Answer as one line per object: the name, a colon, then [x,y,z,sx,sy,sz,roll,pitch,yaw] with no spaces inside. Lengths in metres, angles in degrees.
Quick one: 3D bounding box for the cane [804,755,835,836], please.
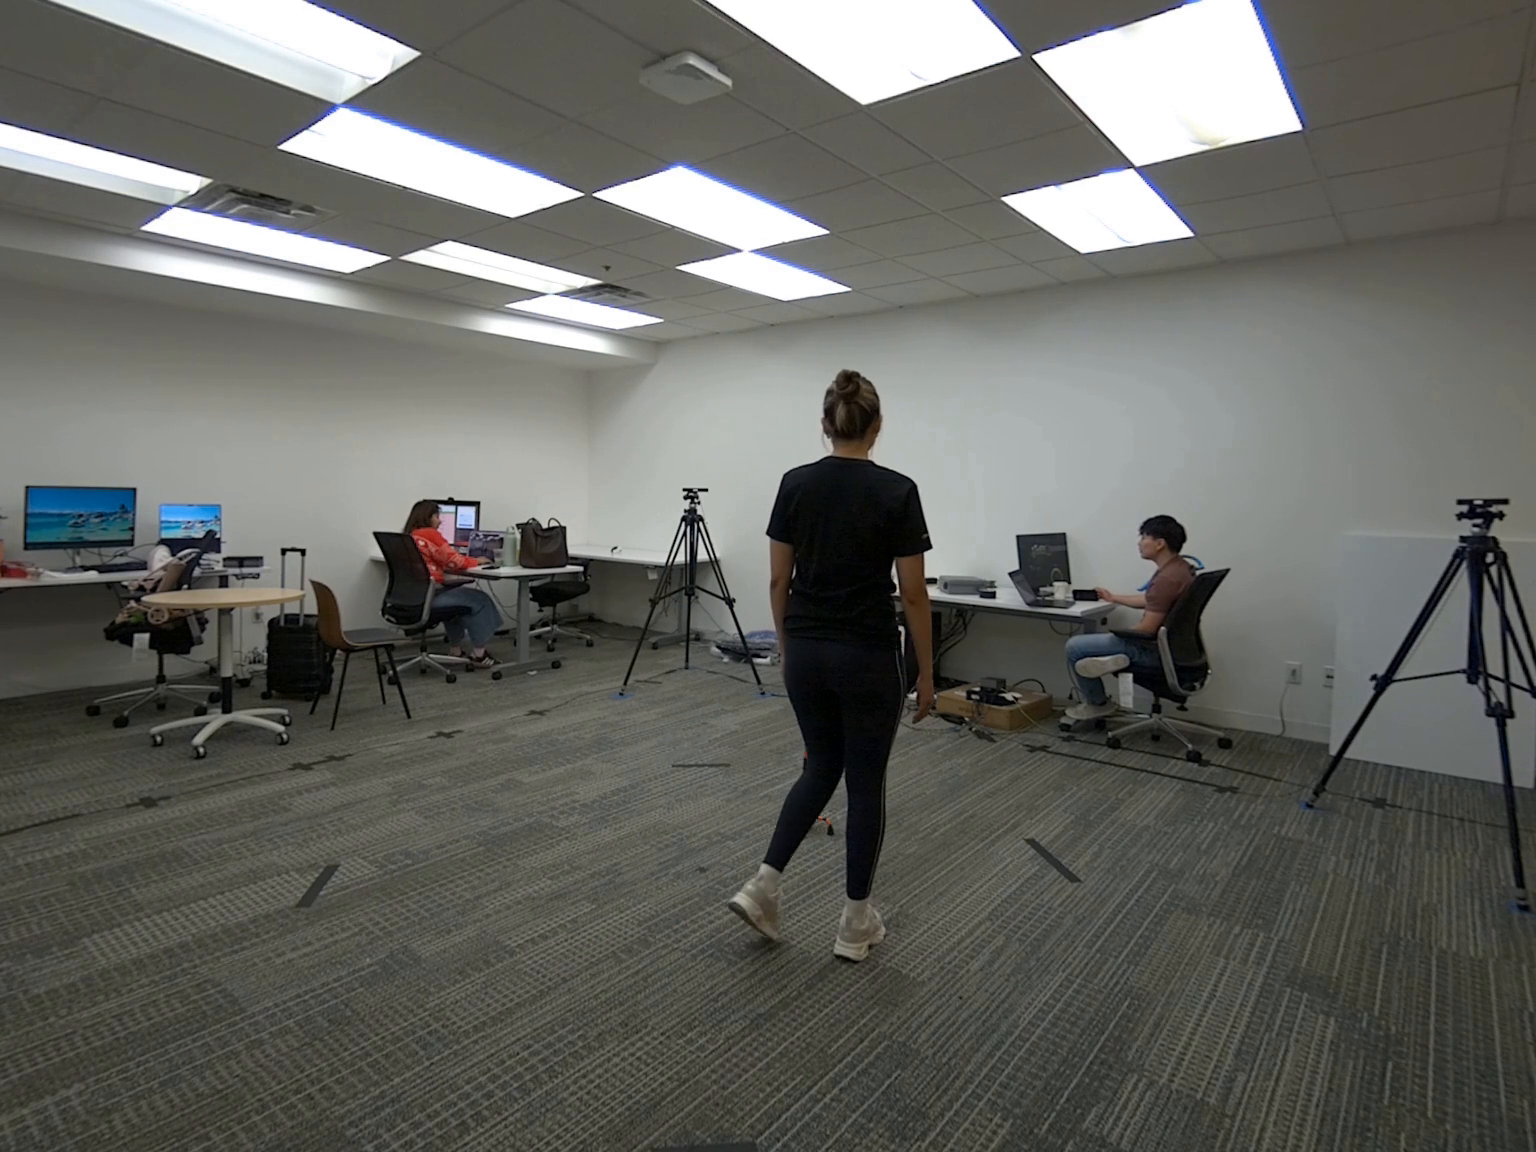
cane: [0.168,0.581,3.501,0.149,0.905,0.211,0,3,-18]
